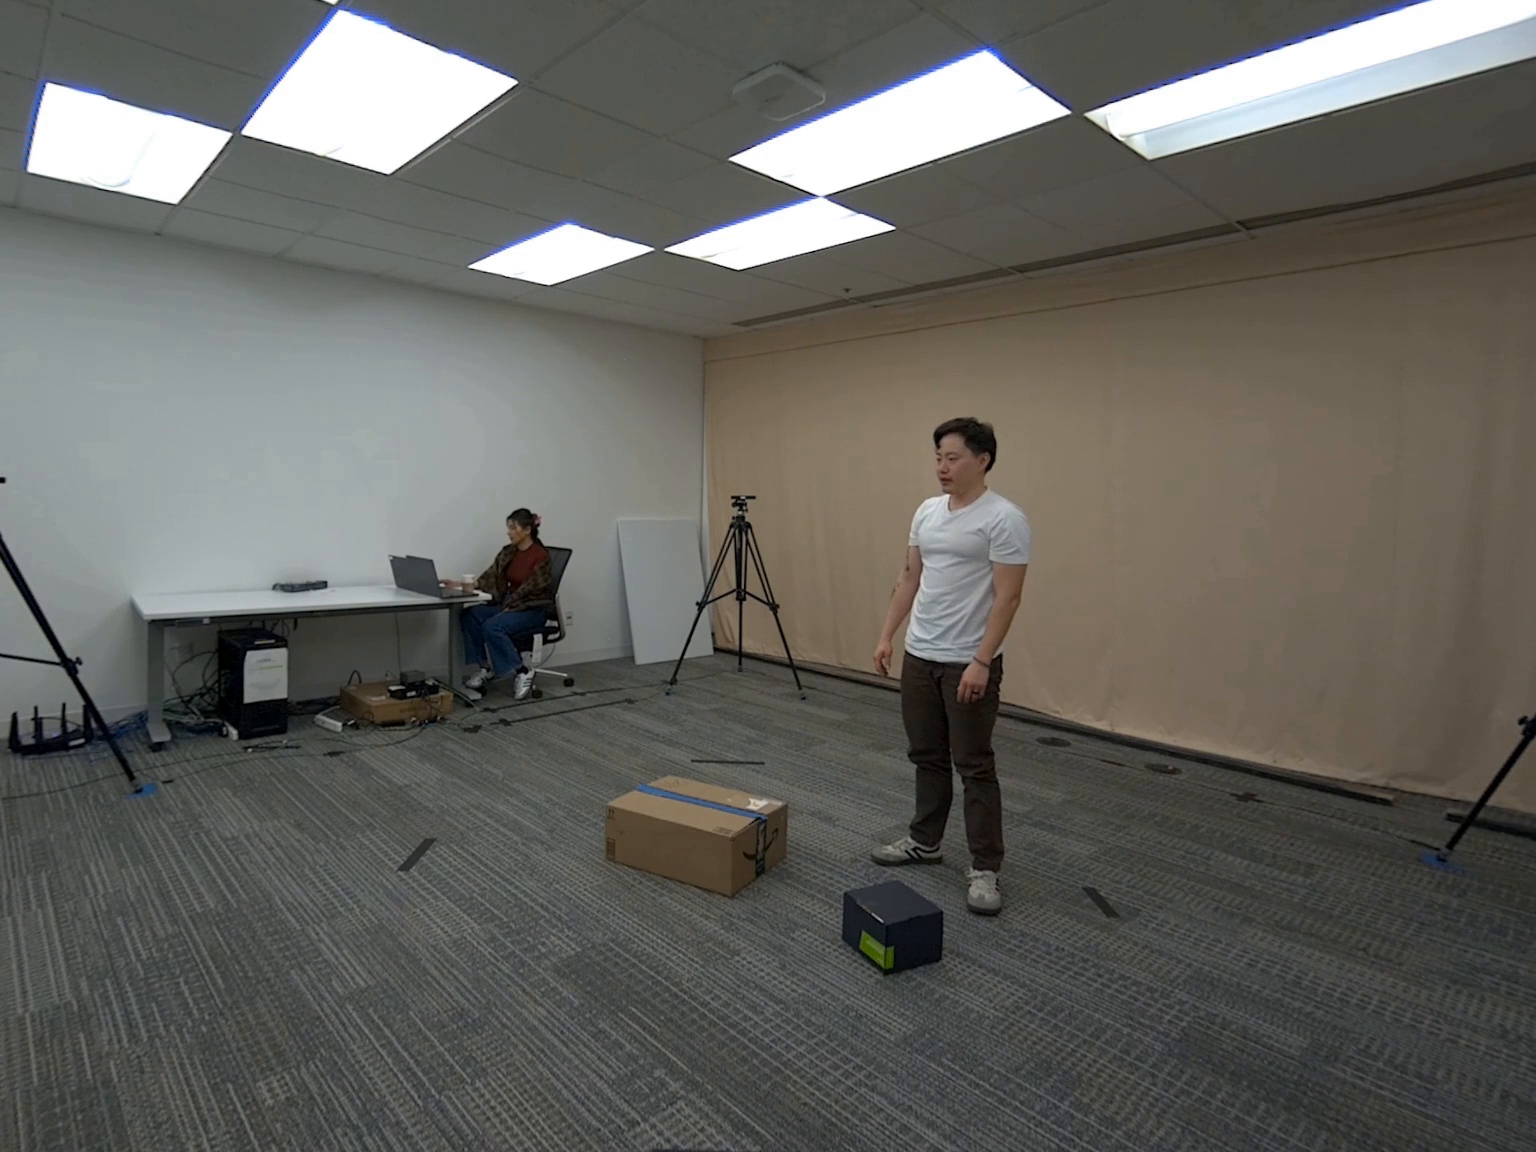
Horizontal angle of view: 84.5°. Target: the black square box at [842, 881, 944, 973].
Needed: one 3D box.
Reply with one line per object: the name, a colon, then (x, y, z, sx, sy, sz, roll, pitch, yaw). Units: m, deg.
black square box: (0.378, 1.077, 2.602, 0.213, 0.155, 0.233, -1, 5, -28)
